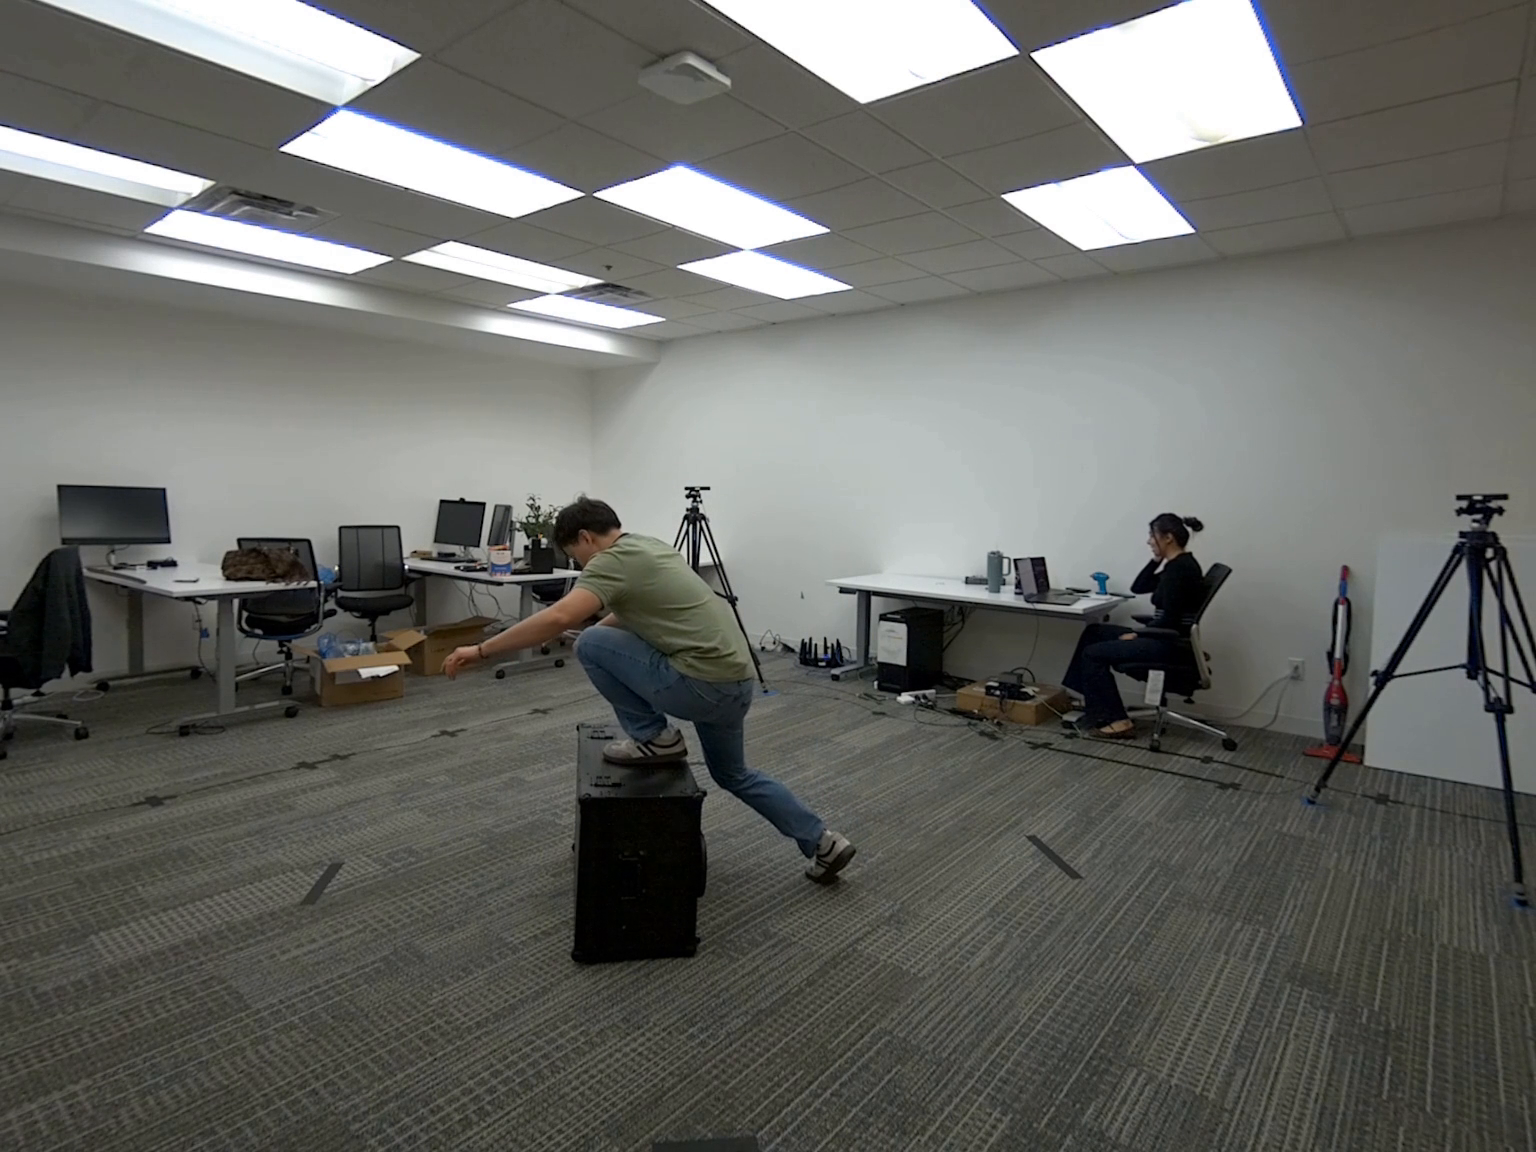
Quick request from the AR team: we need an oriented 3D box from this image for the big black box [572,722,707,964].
[{"bbox_3d":[-0.467,0.829,2.885,0.391,0.519,0.876,2,5,-13],"label":"big black box"}]
